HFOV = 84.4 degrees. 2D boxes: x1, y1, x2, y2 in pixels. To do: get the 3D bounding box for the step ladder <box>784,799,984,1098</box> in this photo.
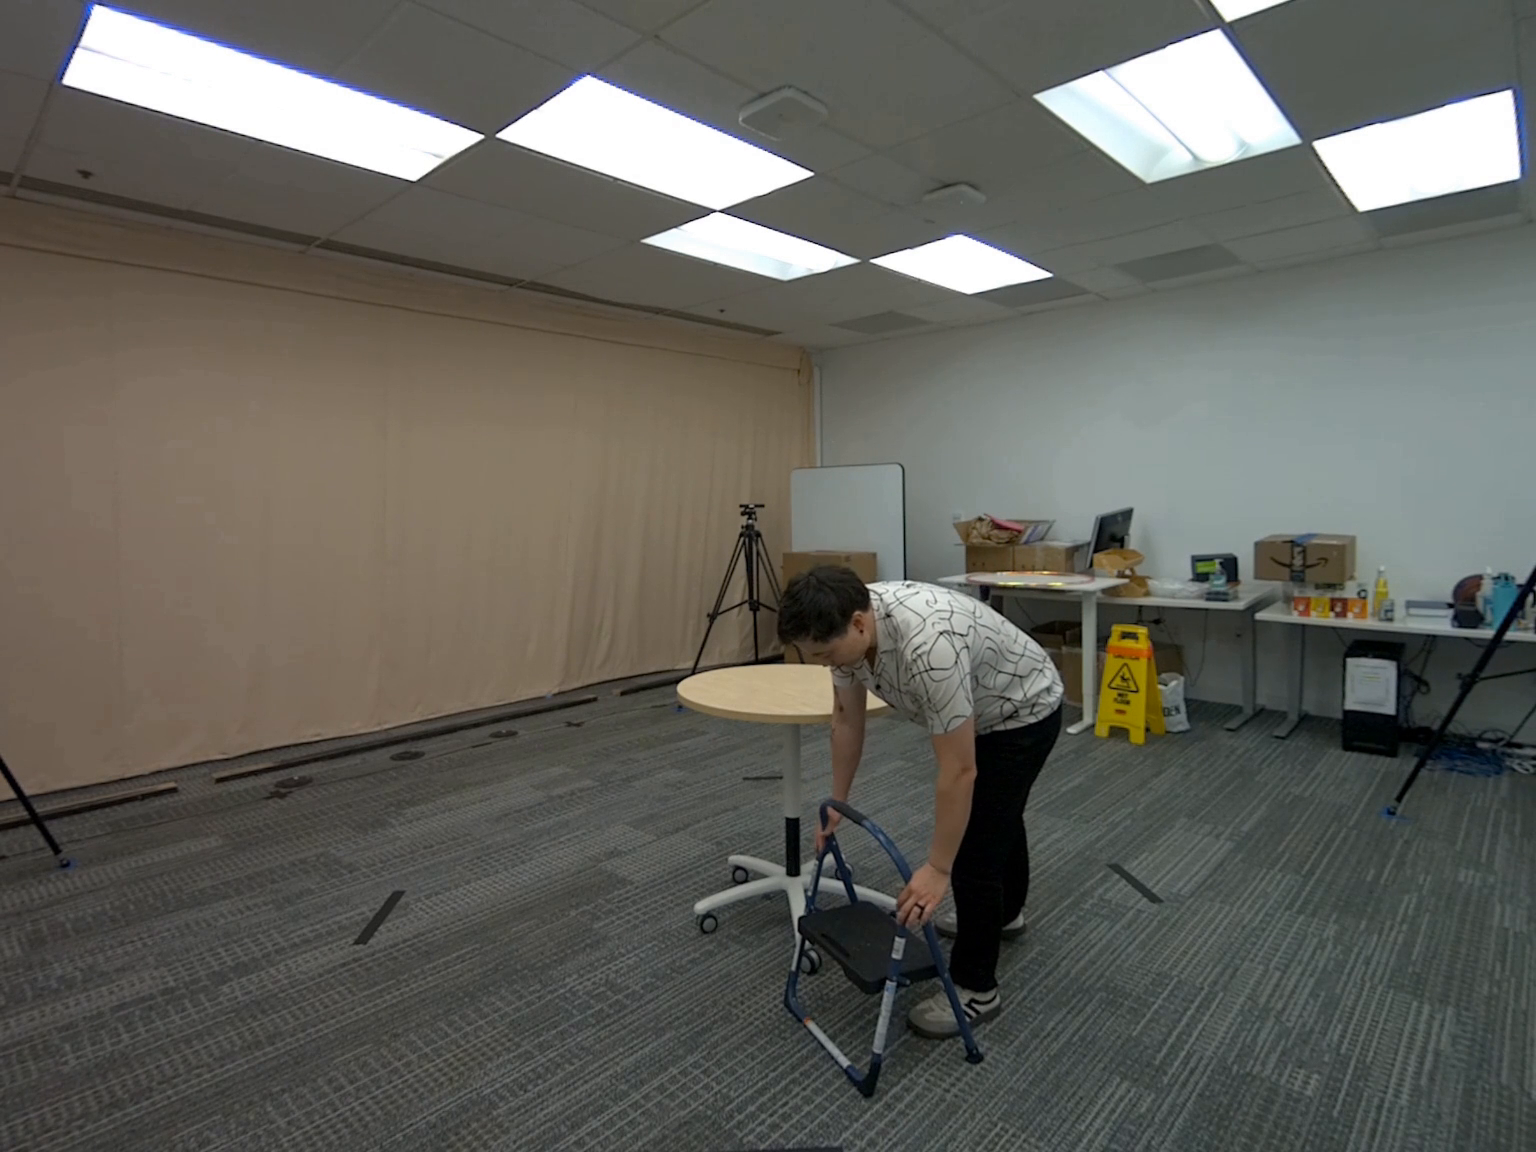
[{"bbox_3d":[0.289,0.904,2.199,0.341,0.604,0.442,-4,5,-27],"label":"step ladder"}]
